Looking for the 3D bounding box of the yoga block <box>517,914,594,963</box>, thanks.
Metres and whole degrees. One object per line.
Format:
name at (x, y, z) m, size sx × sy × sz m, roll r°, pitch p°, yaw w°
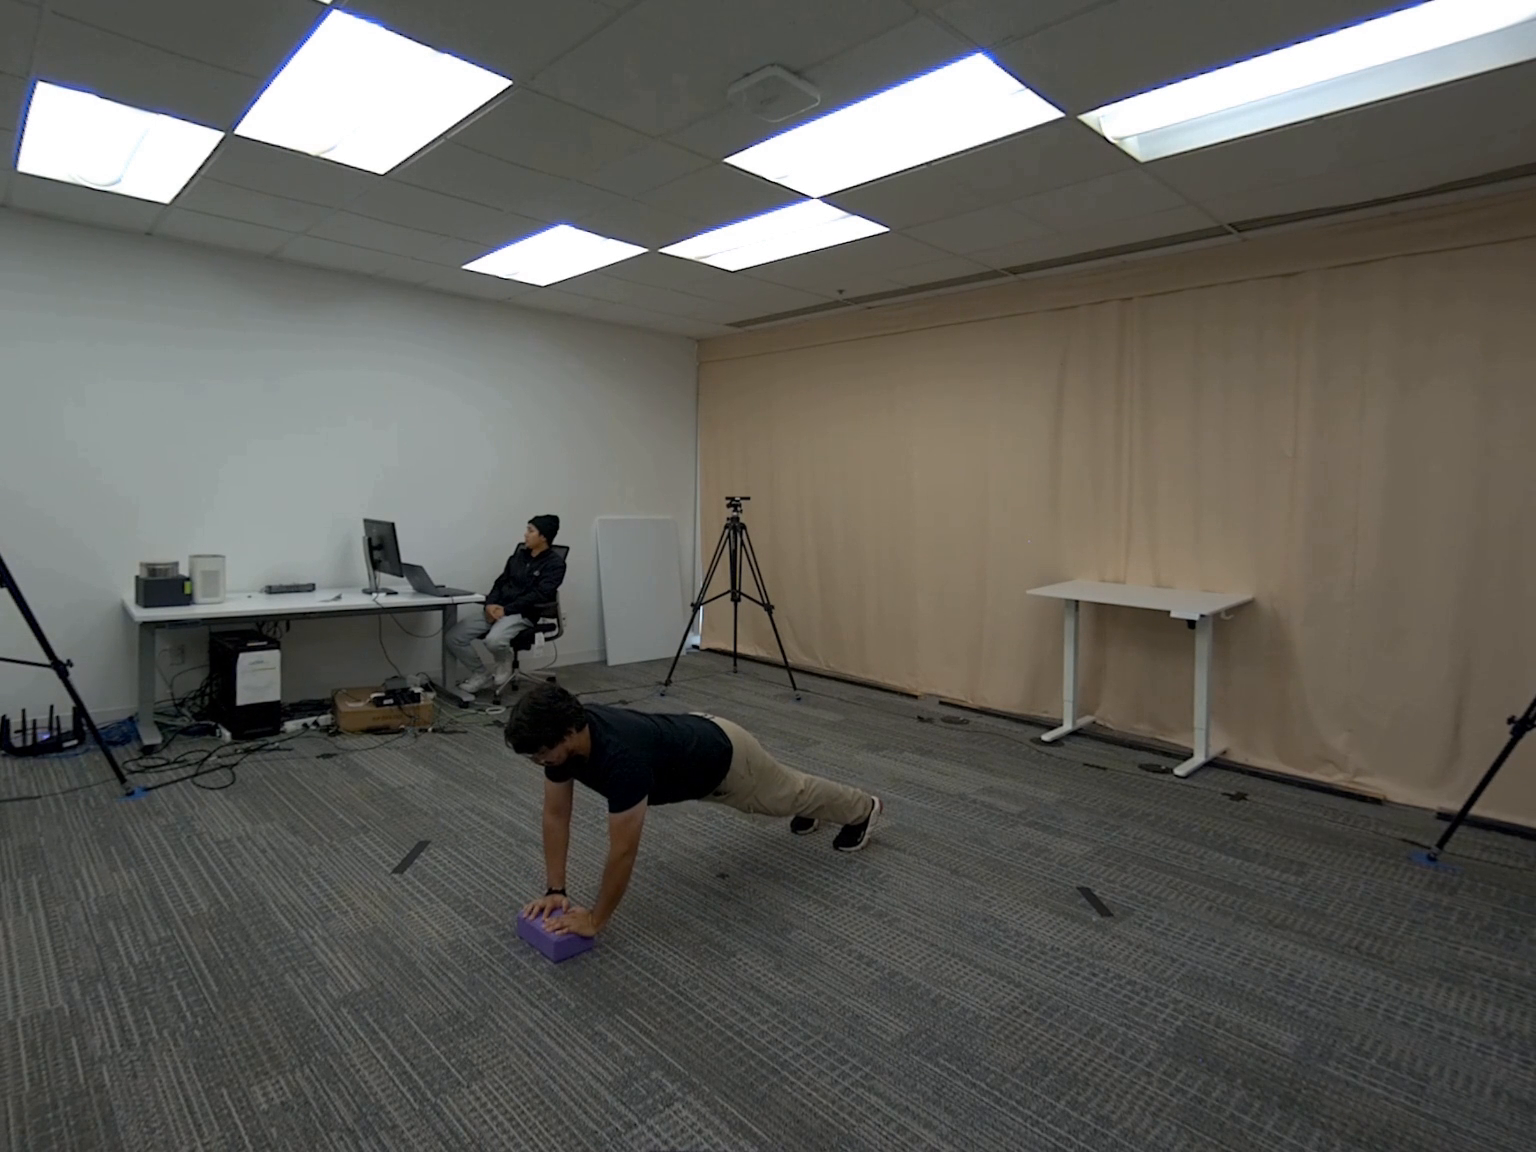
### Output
yoga block at (-0.671, 1.107, 2.619) m, size 0.235 × 0.076 × 0.146 m, roll 6°, pitch 9°, yaw 44°
